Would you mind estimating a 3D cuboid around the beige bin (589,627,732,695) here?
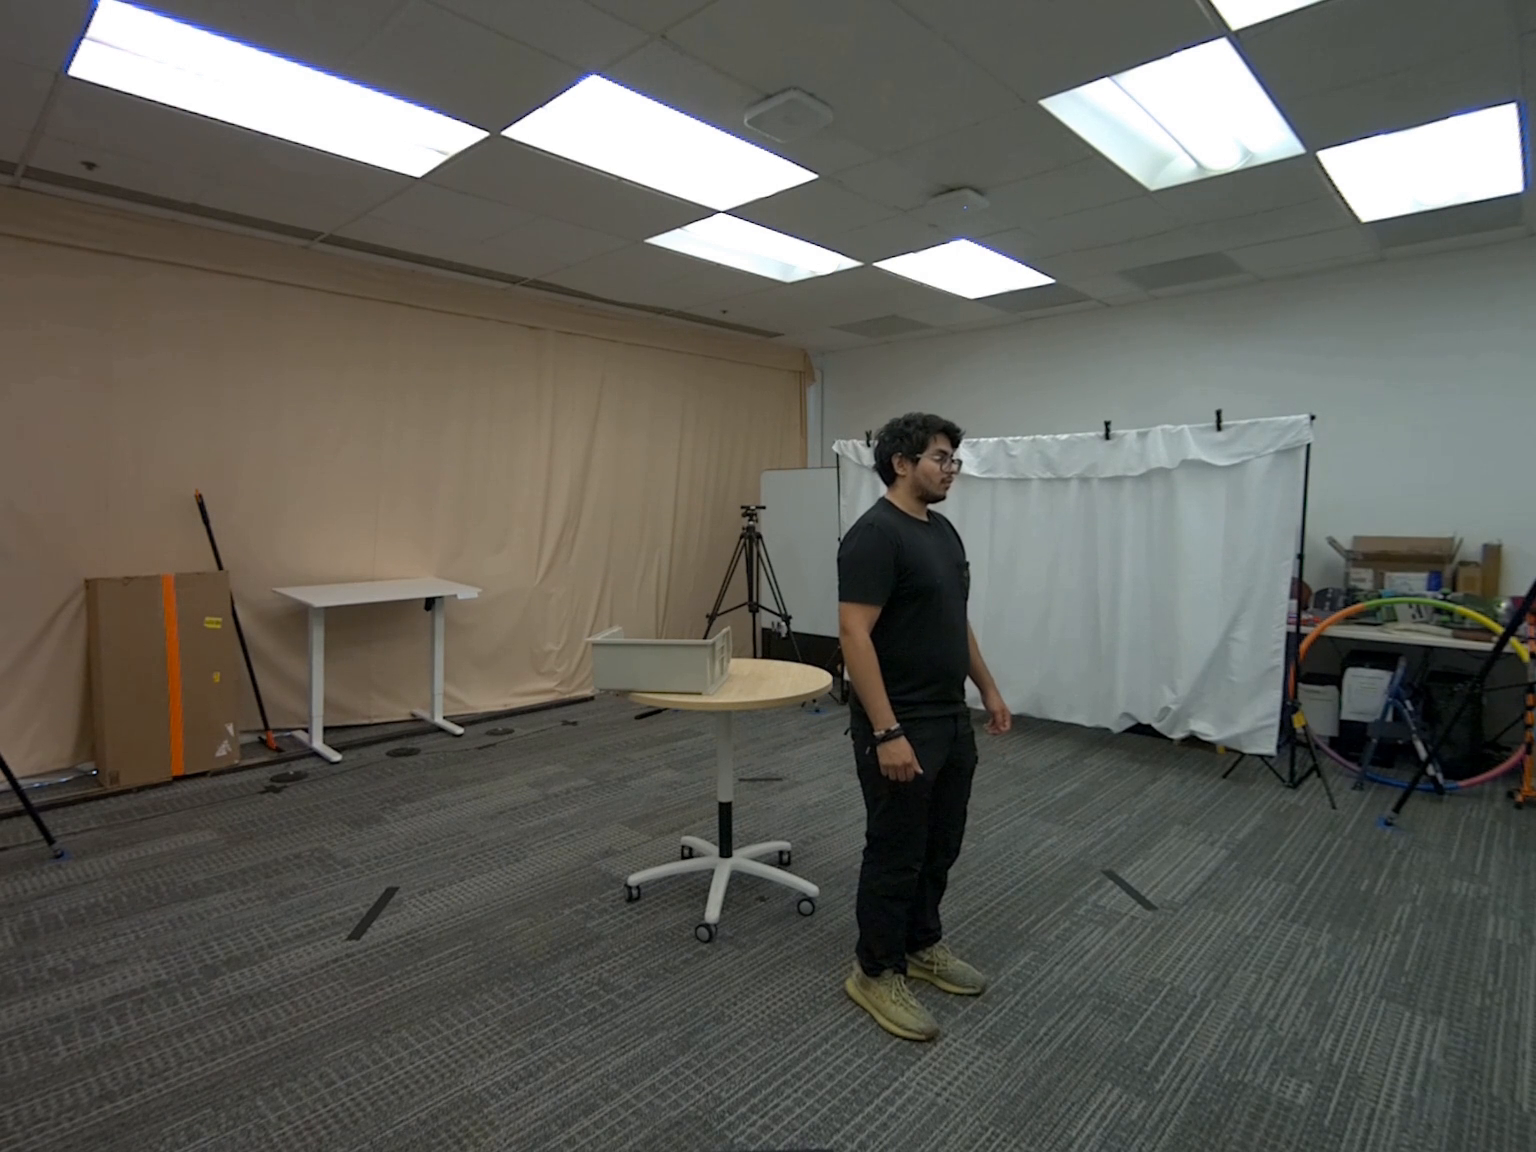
[{"bbox_3d":[-0.363,0.285,2.907,0.427,0.188,0.374,0,5,10],"label":"beige bin"}]
